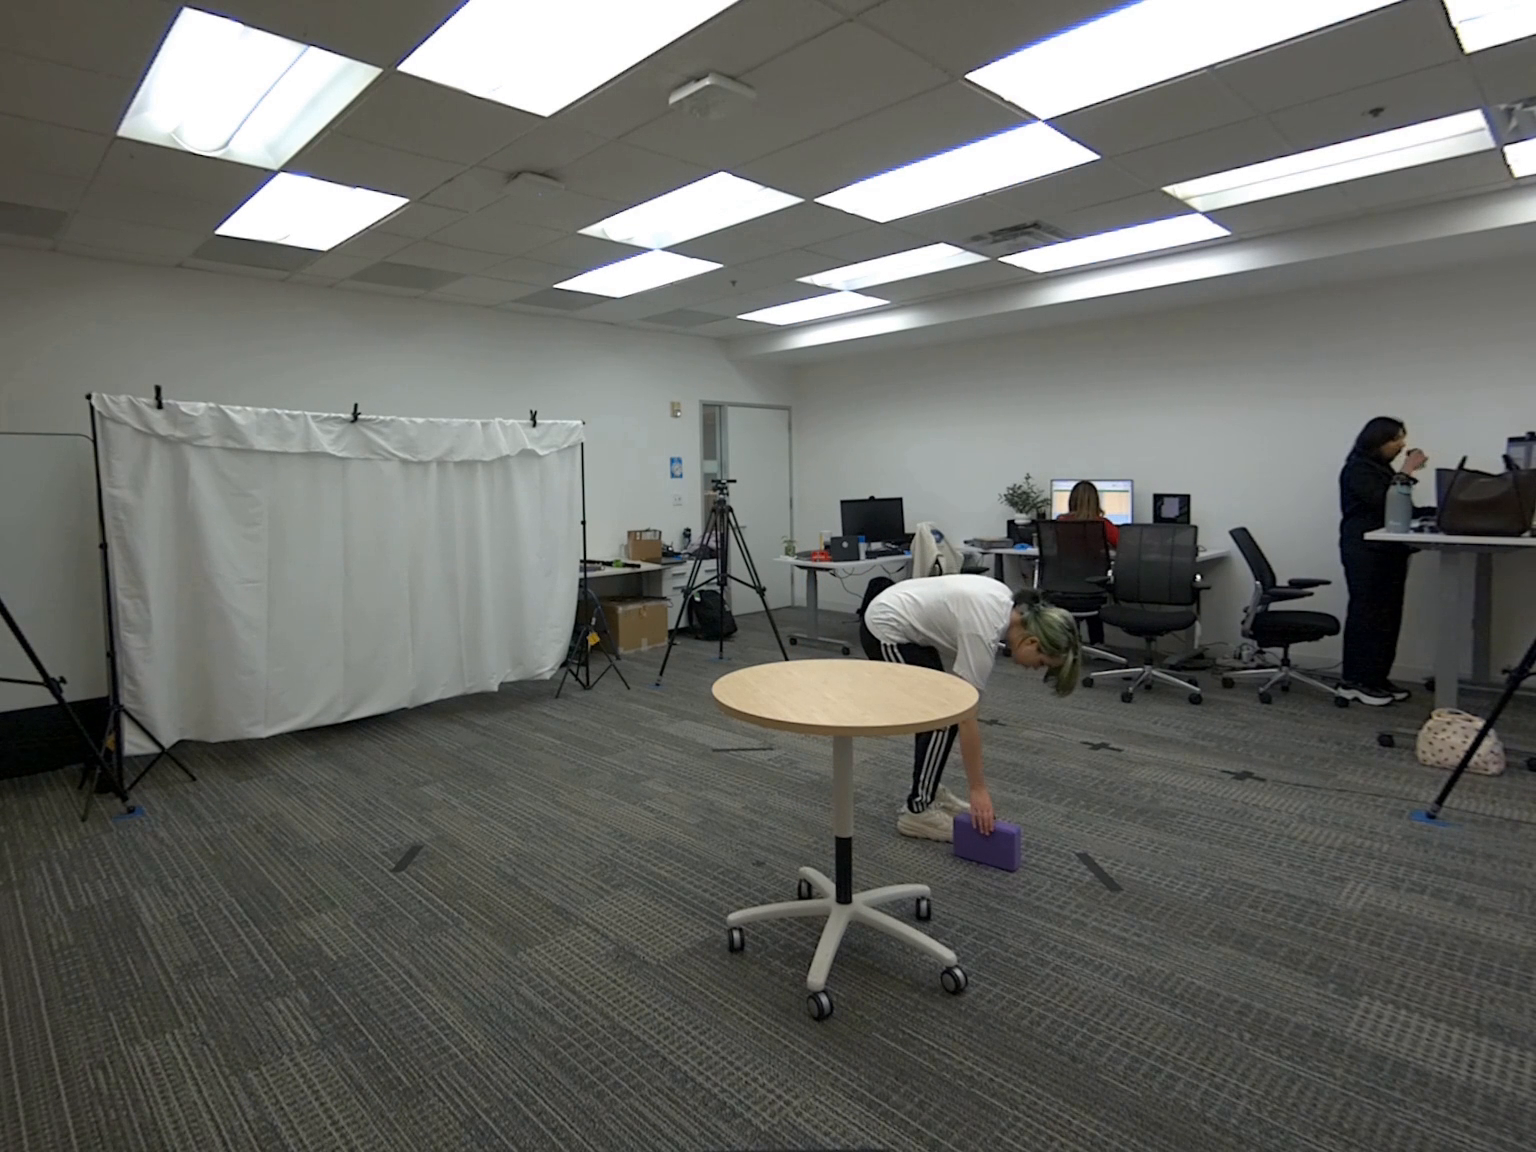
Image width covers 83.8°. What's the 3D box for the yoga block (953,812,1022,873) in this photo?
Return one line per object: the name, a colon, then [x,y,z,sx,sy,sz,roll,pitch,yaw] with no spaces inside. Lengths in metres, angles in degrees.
yoga block: [0.797,0.961,3.093,0.236,0.148,0.074,6,8,38]
